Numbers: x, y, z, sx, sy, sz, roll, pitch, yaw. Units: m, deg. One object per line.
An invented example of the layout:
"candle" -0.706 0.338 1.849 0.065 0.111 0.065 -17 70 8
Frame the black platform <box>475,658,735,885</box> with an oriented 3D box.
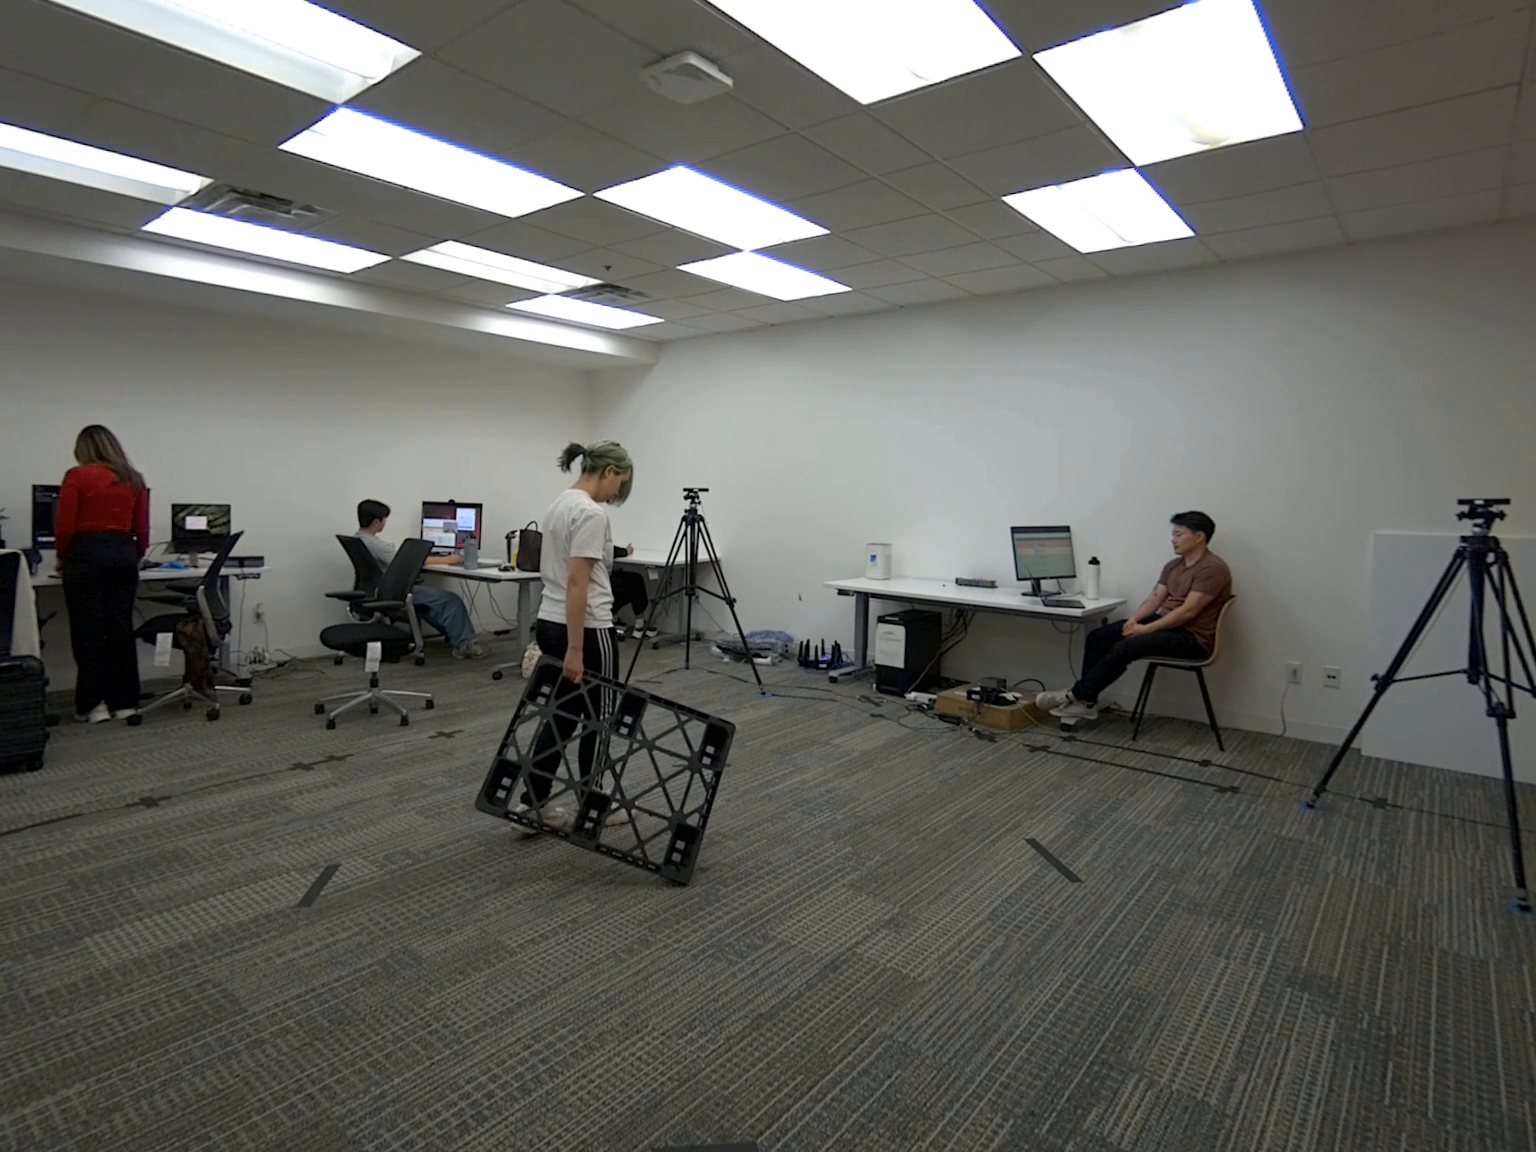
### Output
"black platform" -0.592 0.713 3.144 0.805 0.613 0.141 19 -26 -1
